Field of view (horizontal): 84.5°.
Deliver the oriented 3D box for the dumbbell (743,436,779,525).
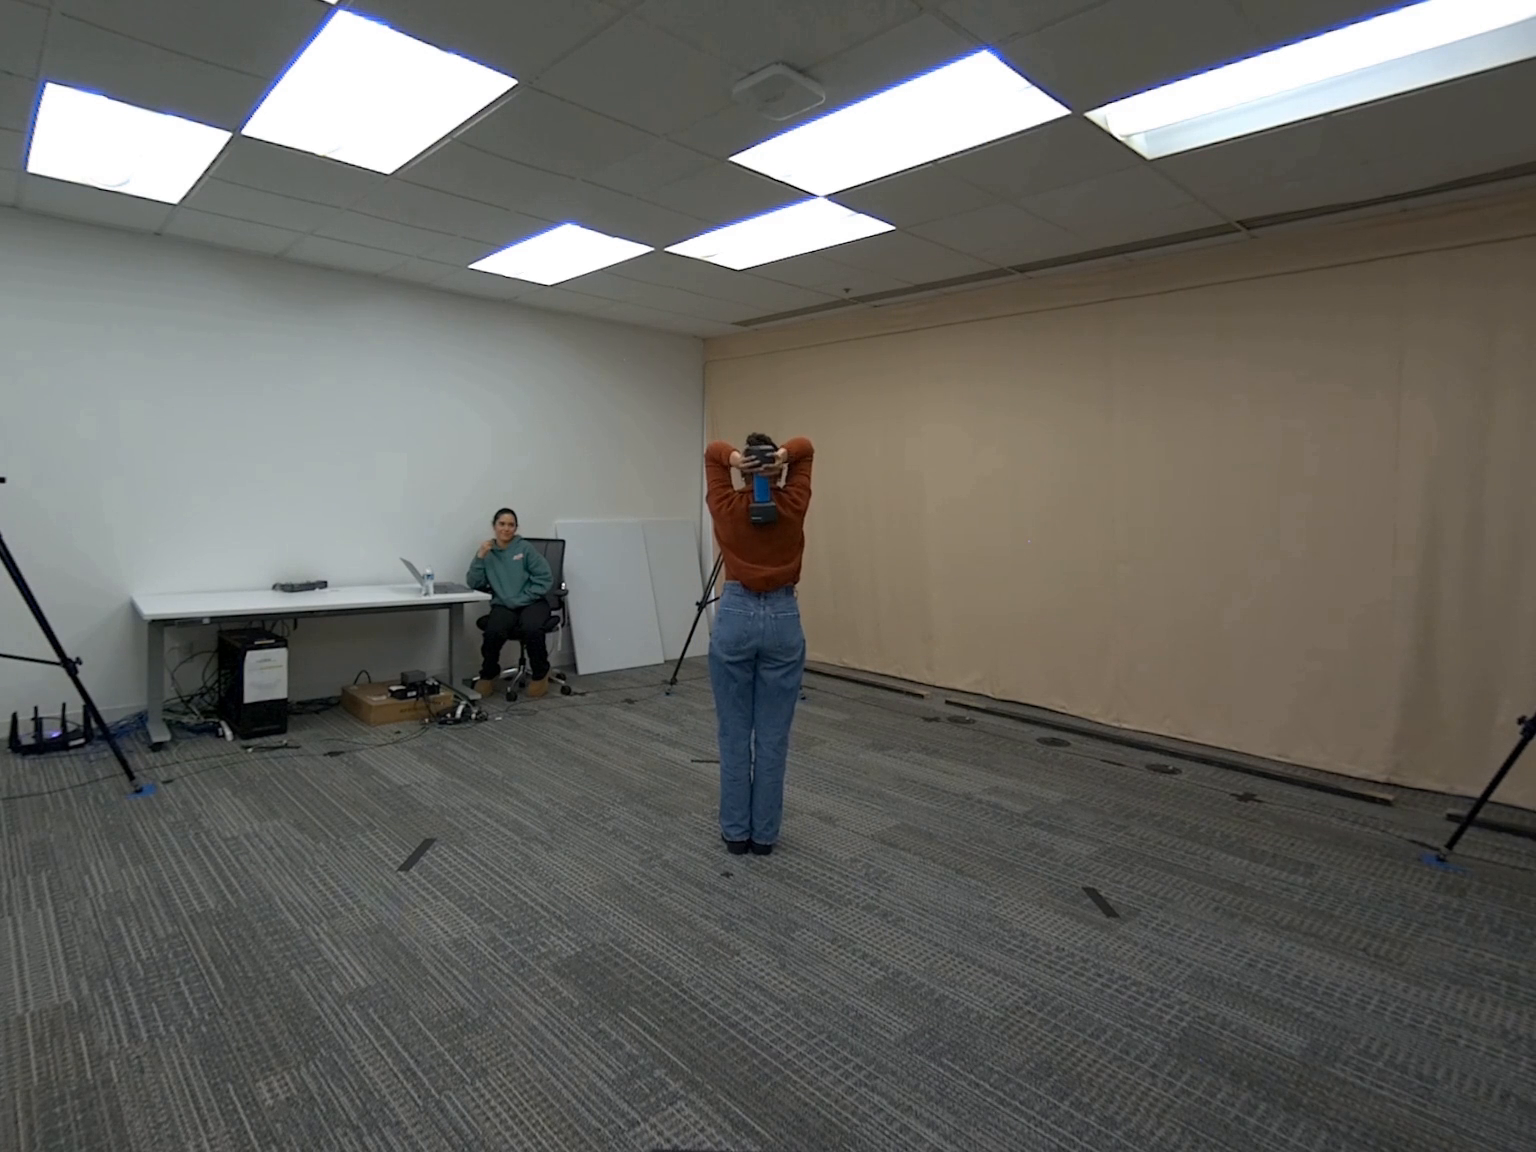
[{"bbox_3d":[-0.029,-0.346,3.200,0.108,0.292,0.124,-4,4,-11],"label":"dumbbell"}]
